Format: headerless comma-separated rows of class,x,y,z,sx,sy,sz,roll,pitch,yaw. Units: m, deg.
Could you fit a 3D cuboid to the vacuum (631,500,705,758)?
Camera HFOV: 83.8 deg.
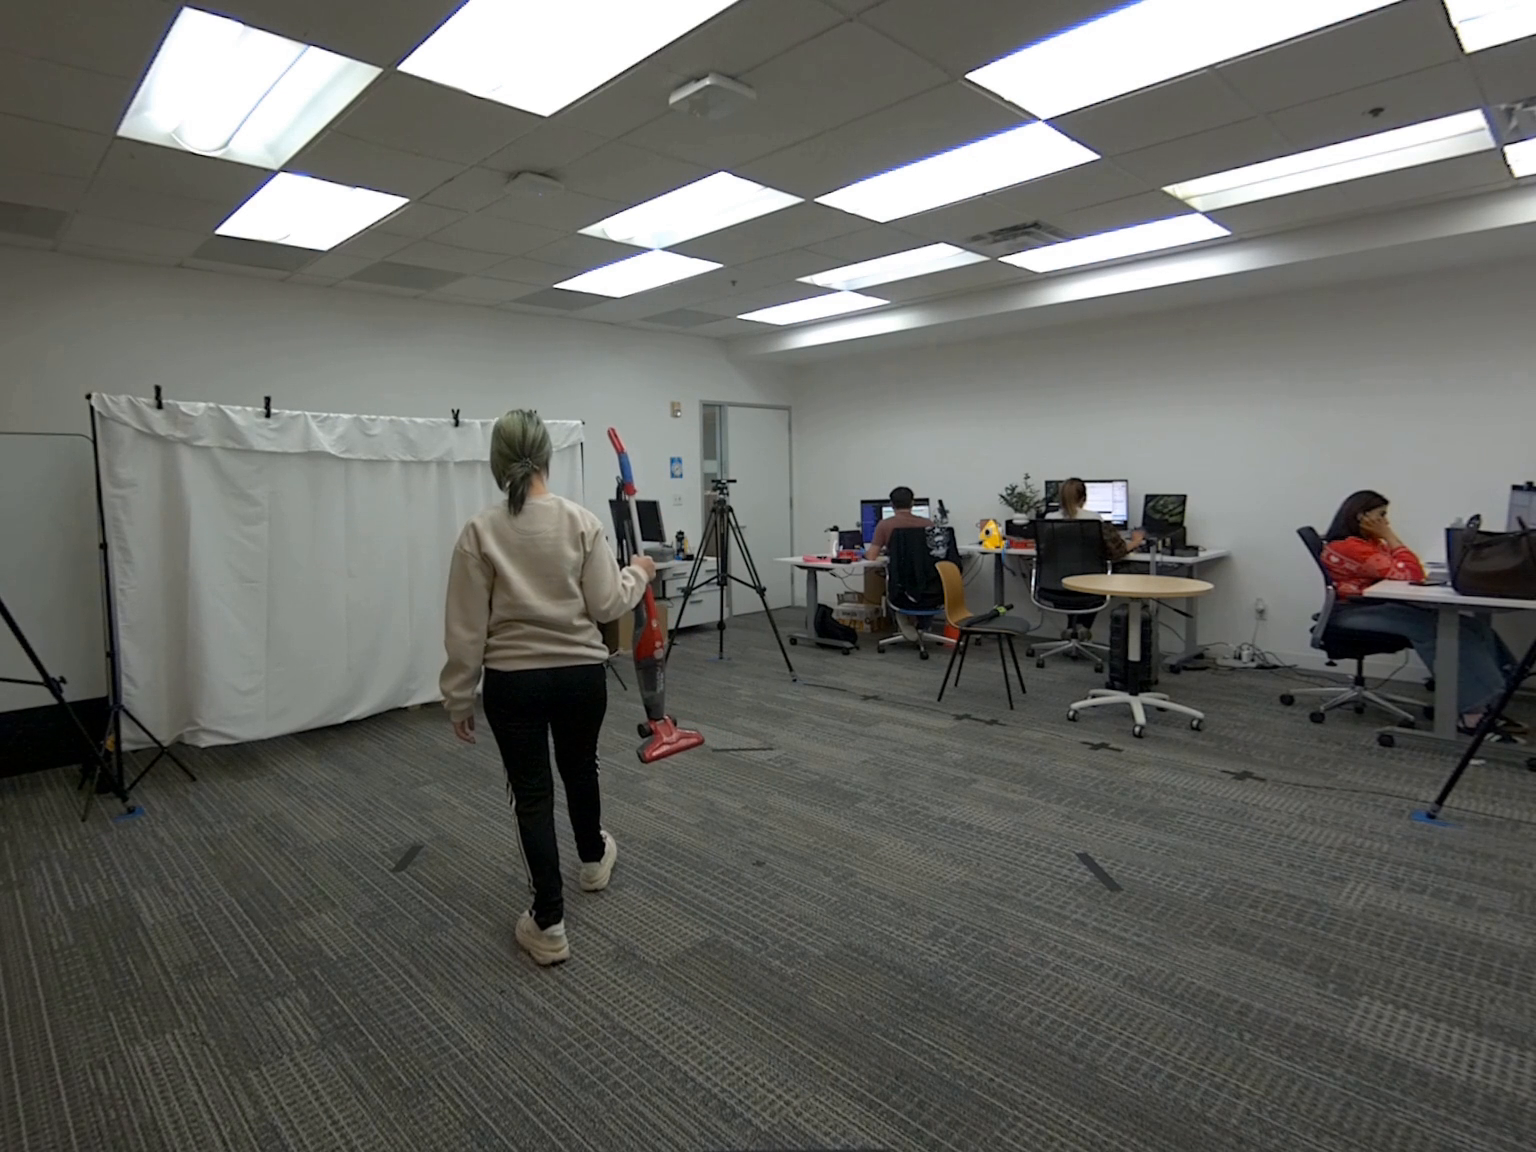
vacuum,-0.436,0.026,2.888,0.246,1.051,0.147,-9,-2,-44
